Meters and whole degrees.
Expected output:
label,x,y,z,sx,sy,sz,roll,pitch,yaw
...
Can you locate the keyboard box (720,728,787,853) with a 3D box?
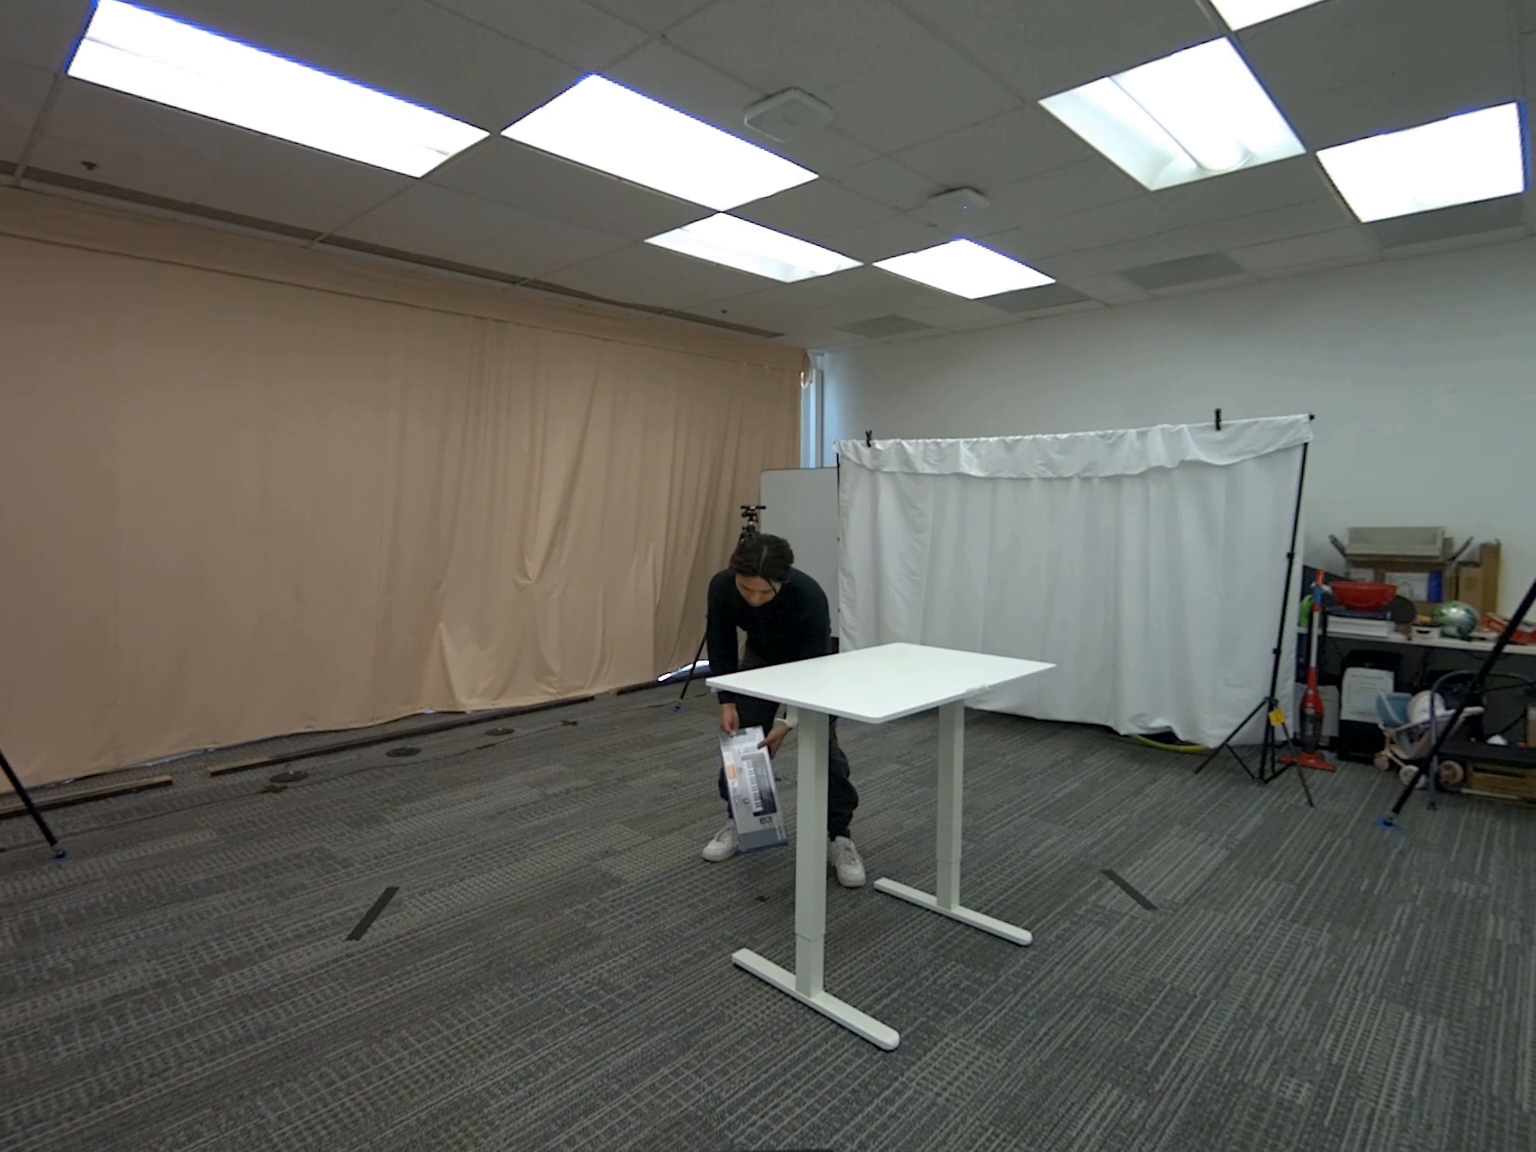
label,x,y,z,sx,sy,sz,roll,pitch,yaw
keyboard box,-0.051,0.767,3.068,0.175,0.447,0.058,-8,-33,-6
